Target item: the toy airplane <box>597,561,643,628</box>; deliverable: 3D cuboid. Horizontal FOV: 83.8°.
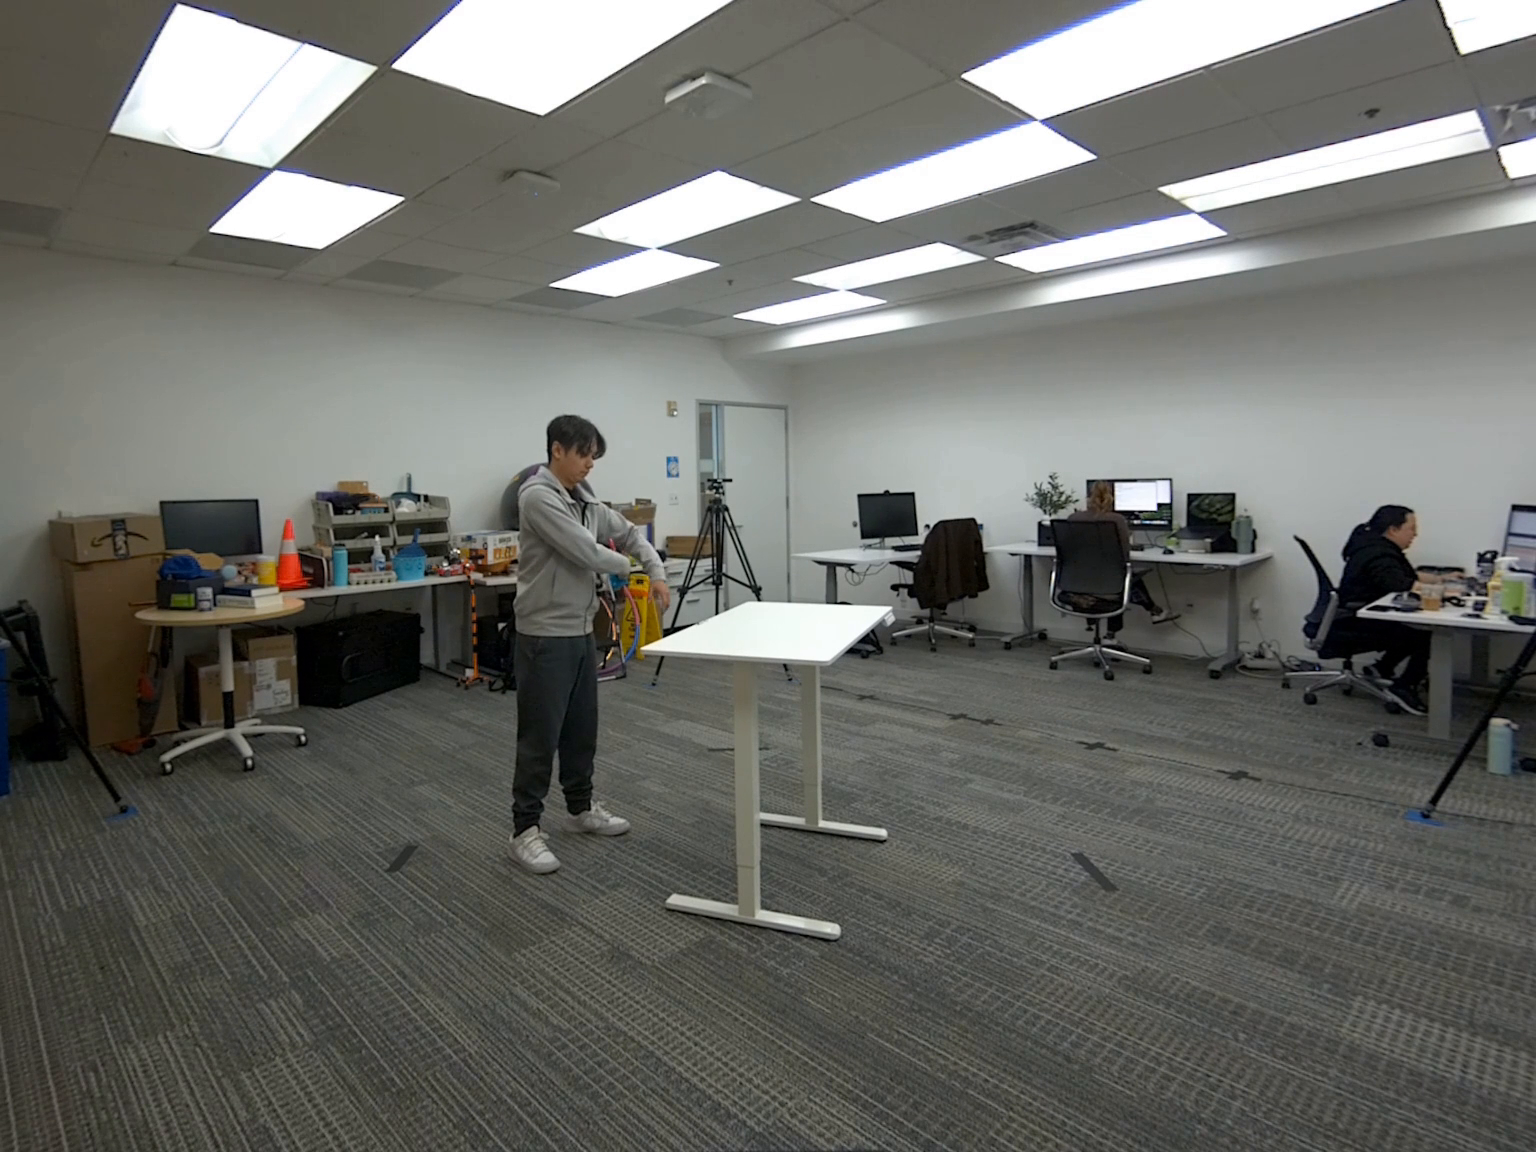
[{"bbox_3d":[-0.630,0.004,3.403,0.154,0.245,0.269,-21,53,-22],"label":"toy airplane"}]
